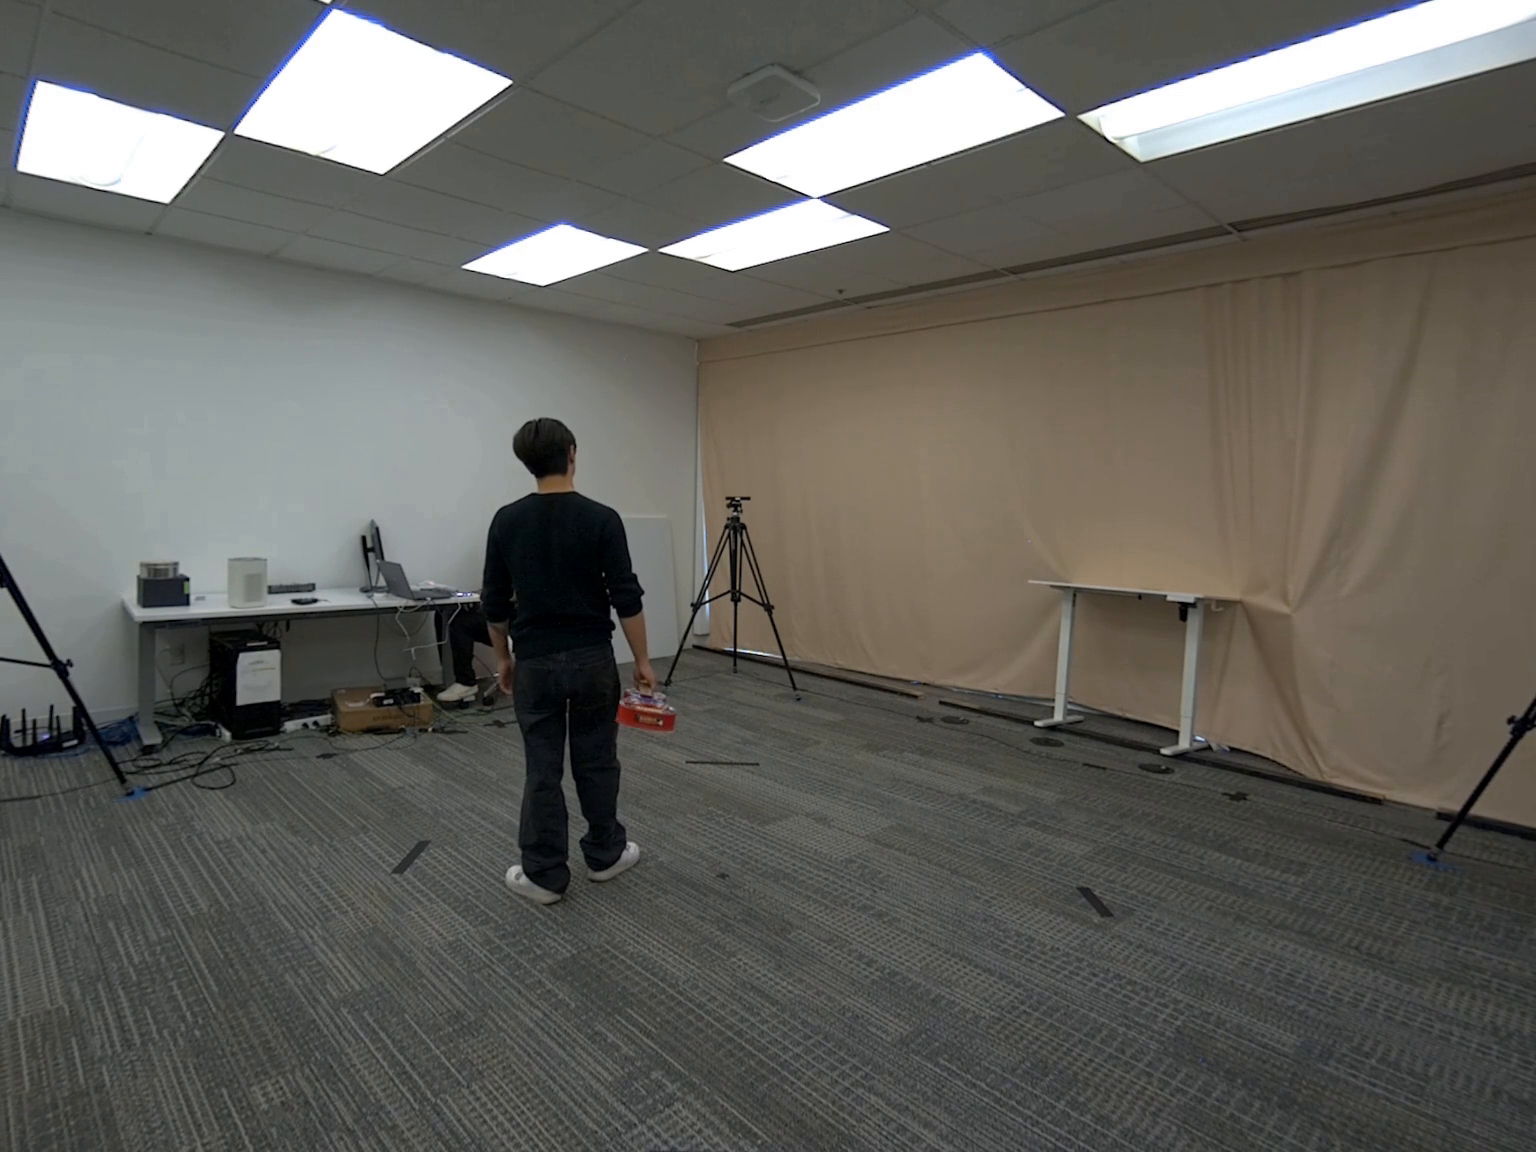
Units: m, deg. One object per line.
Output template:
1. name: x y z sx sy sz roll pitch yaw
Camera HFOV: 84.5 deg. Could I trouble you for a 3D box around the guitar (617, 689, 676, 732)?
1. guitar: -0.416 0.431 2.959 0.193 0.070 0.500 12 6 -3
